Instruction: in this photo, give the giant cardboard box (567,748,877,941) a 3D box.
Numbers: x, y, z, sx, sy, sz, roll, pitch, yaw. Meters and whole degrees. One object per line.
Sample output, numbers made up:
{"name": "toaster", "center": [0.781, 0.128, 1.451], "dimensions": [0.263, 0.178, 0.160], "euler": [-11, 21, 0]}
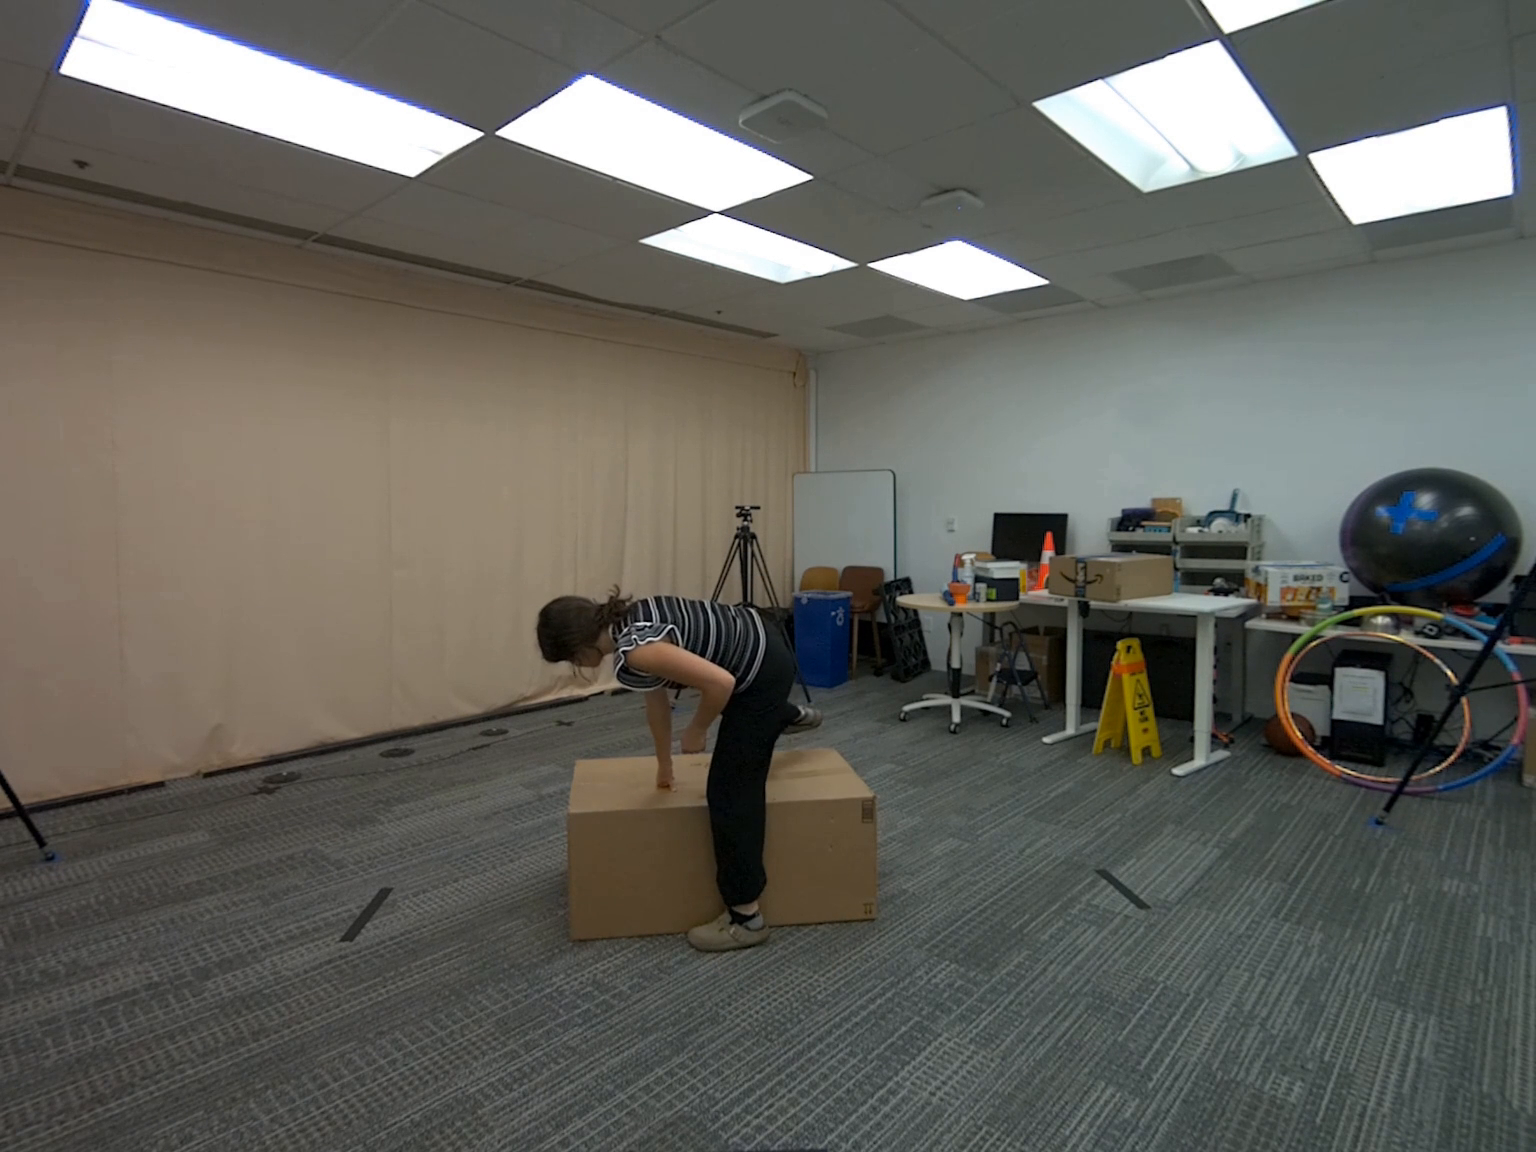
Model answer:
{"name": "giant cardboard box", "center": [-0.188, 0.934, 3.032], "dimensions": [1.018, 0.425, 0.584], "euler": [-1, 4, -8]}
